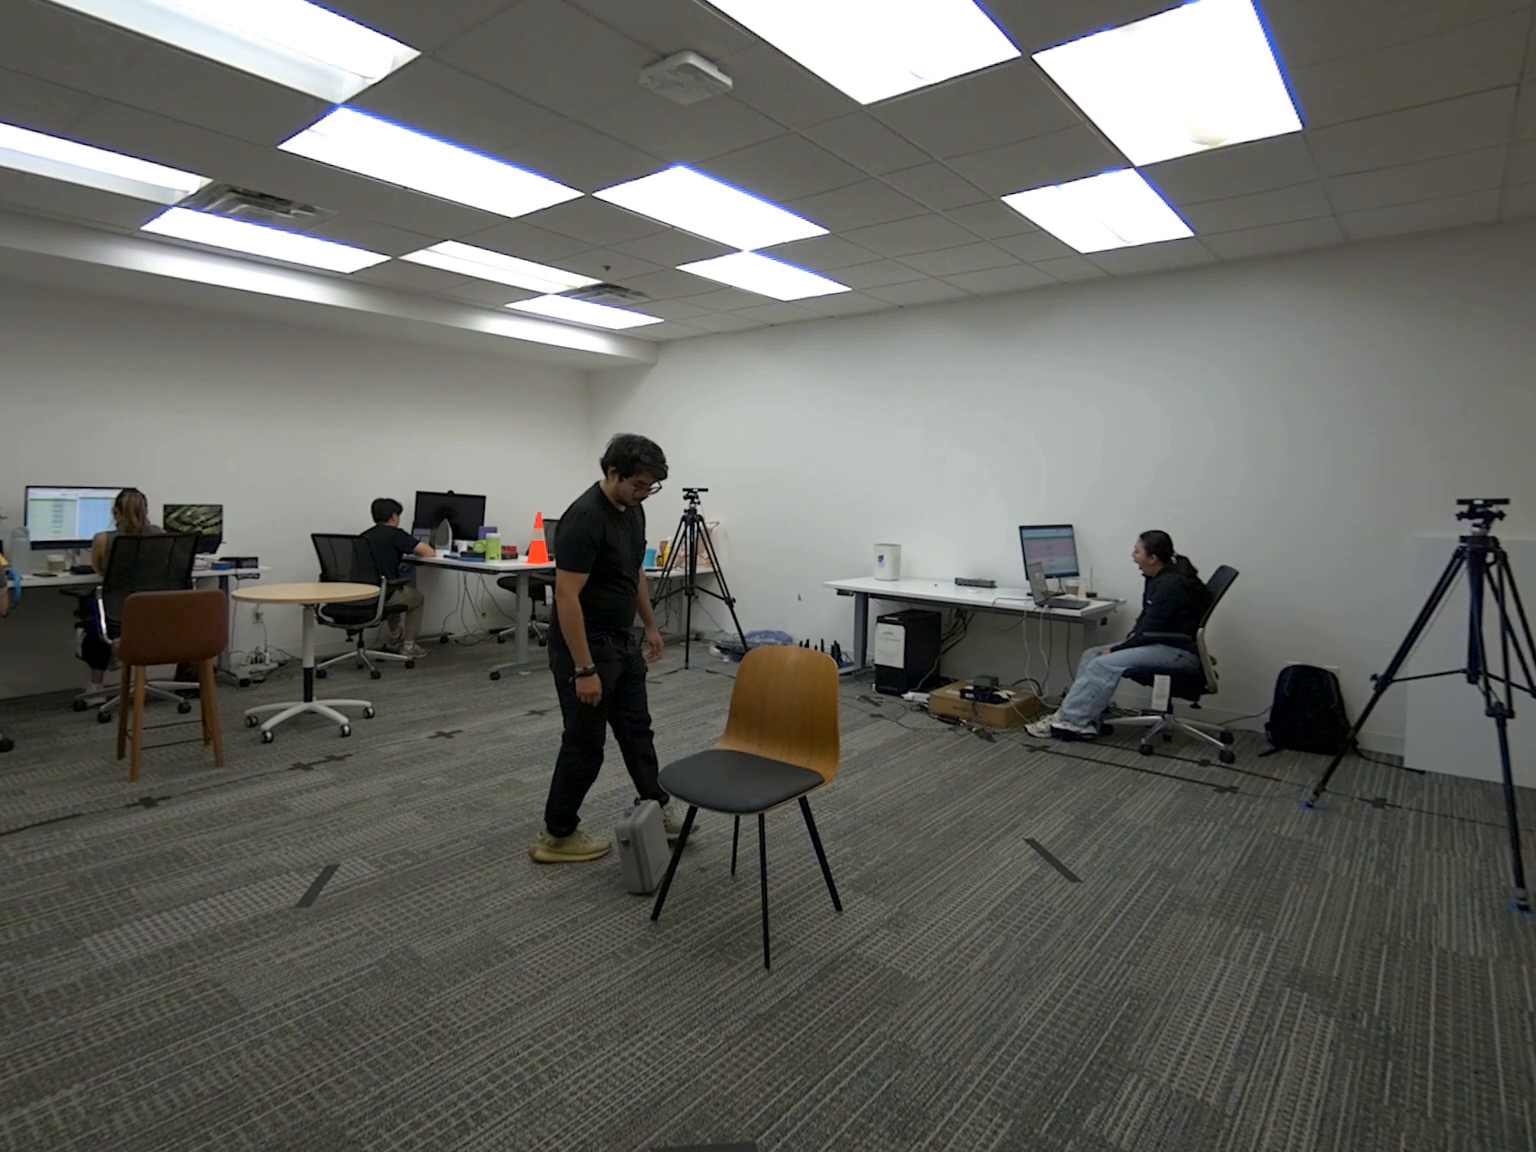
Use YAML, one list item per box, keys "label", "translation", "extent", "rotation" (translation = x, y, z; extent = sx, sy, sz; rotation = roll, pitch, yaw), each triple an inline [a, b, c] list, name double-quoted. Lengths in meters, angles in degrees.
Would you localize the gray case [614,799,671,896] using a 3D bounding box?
- label: "gray case"
  translation: [-0.448, 0.943, 3.000]
  extent: [0.105, 0.261, 0.254]
  rotation: [-10, 1, 9]
